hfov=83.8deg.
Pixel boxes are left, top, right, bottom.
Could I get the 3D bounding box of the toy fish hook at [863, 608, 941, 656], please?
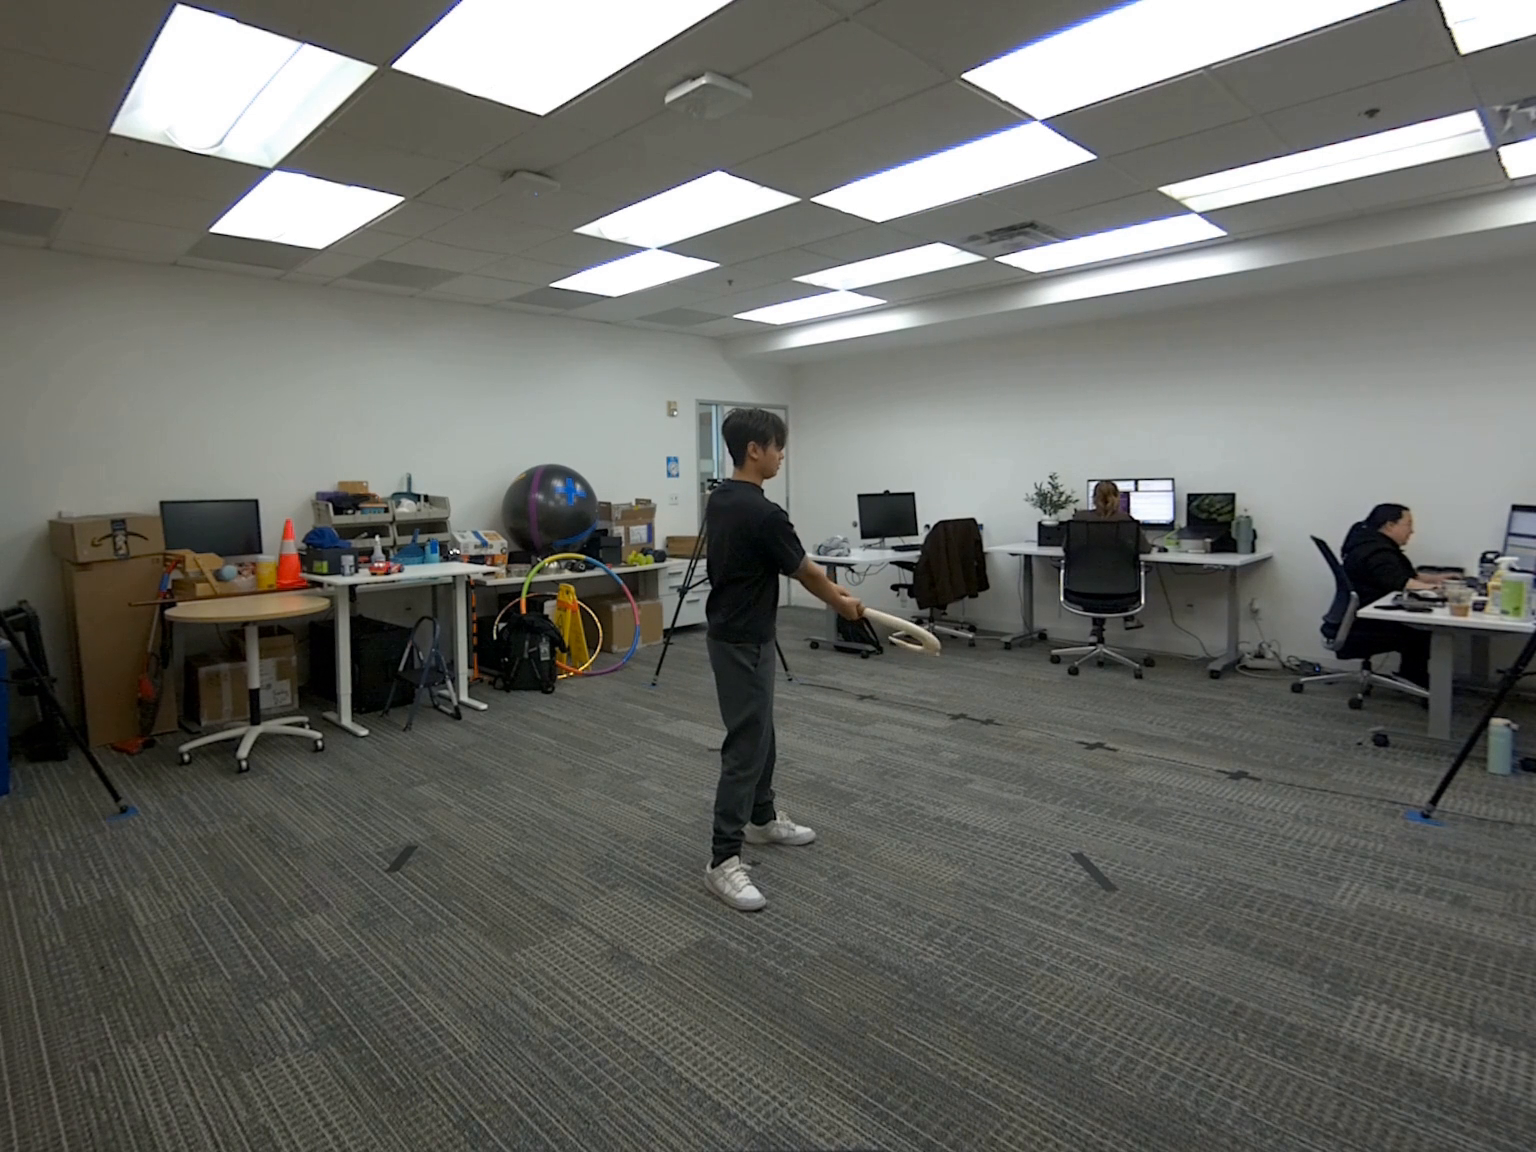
[{"bbox_3d":[0.411,0.175,3.254,0.518,0.048,0.218,24,-27,18],"label":"toy fish hook"}]
